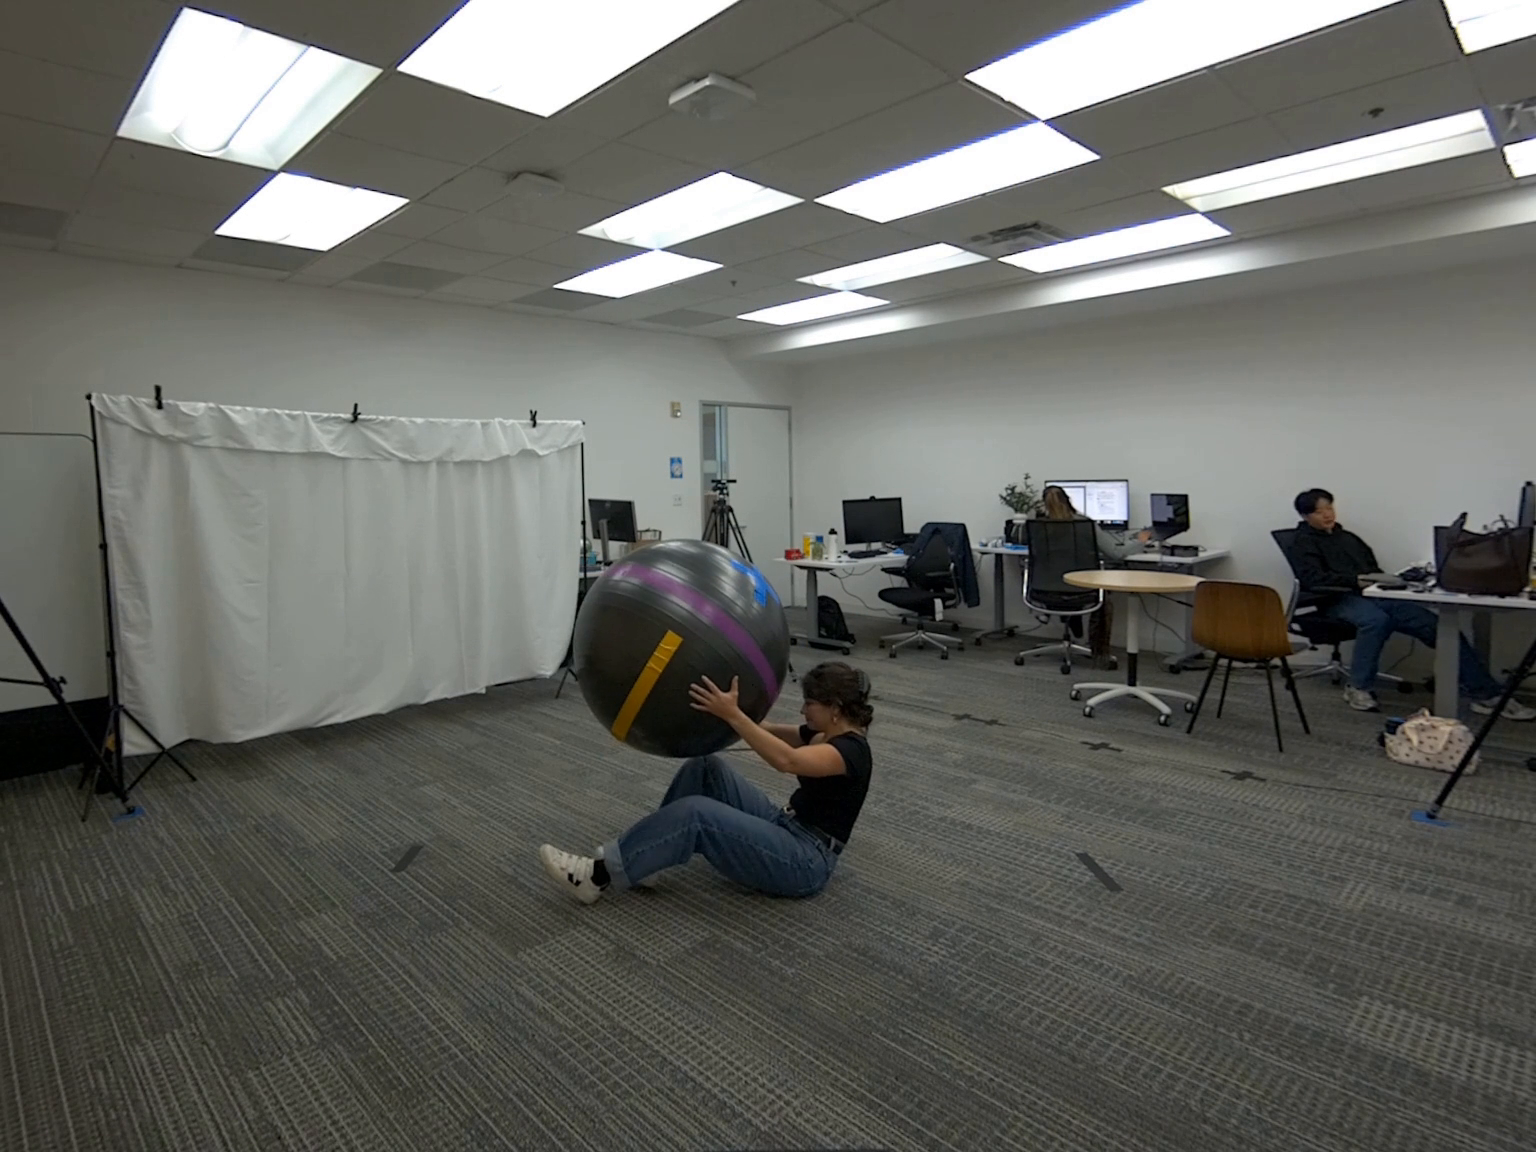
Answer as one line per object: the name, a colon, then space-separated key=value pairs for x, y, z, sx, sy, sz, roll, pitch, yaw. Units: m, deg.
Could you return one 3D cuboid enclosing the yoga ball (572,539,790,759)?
yoga ball: x=-0.318 y=0.257 z=2.999 sx=0.757 sy=0.755 sz=0.762 roll=-1 pitch=5 yaw=-2
